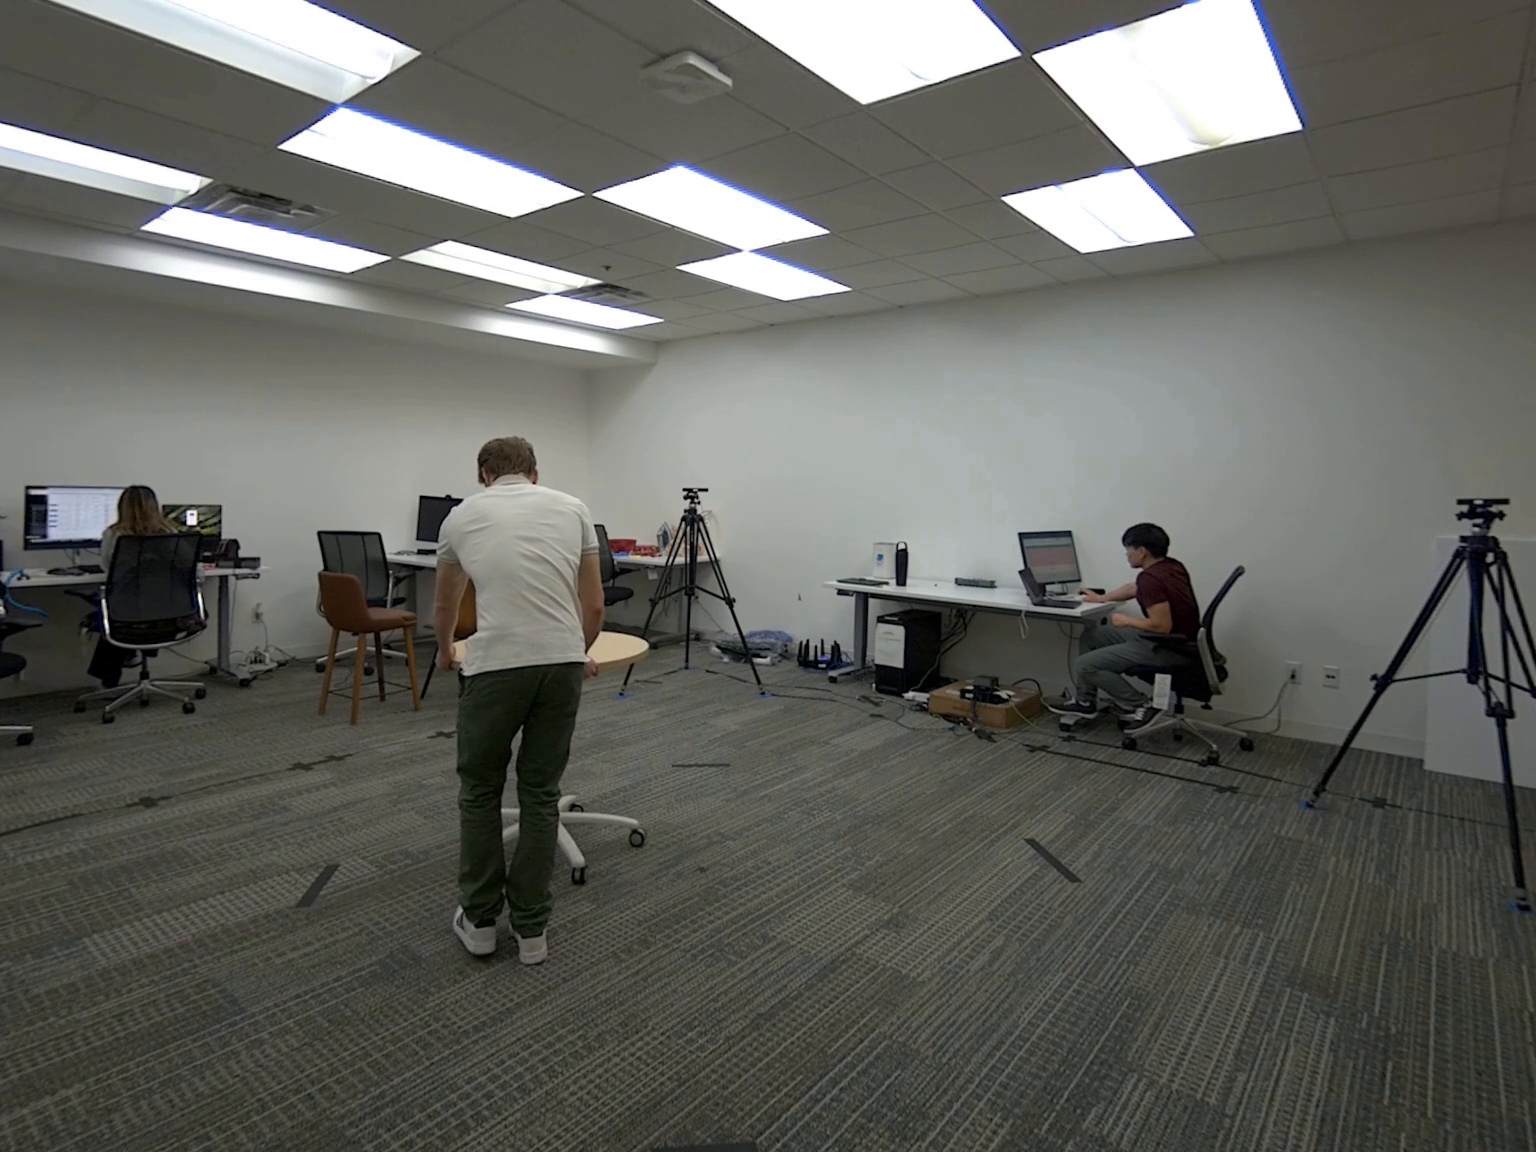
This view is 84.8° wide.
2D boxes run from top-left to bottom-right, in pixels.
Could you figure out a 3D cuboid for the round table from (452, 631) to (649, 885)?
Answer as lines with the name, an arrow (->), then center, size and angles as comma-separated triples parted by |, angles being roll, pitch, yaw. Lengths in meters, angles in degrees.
round table -> -0.836, 0.652, 3.219 | 0.784, 0.784, 0.789 | 1, 4, -2
